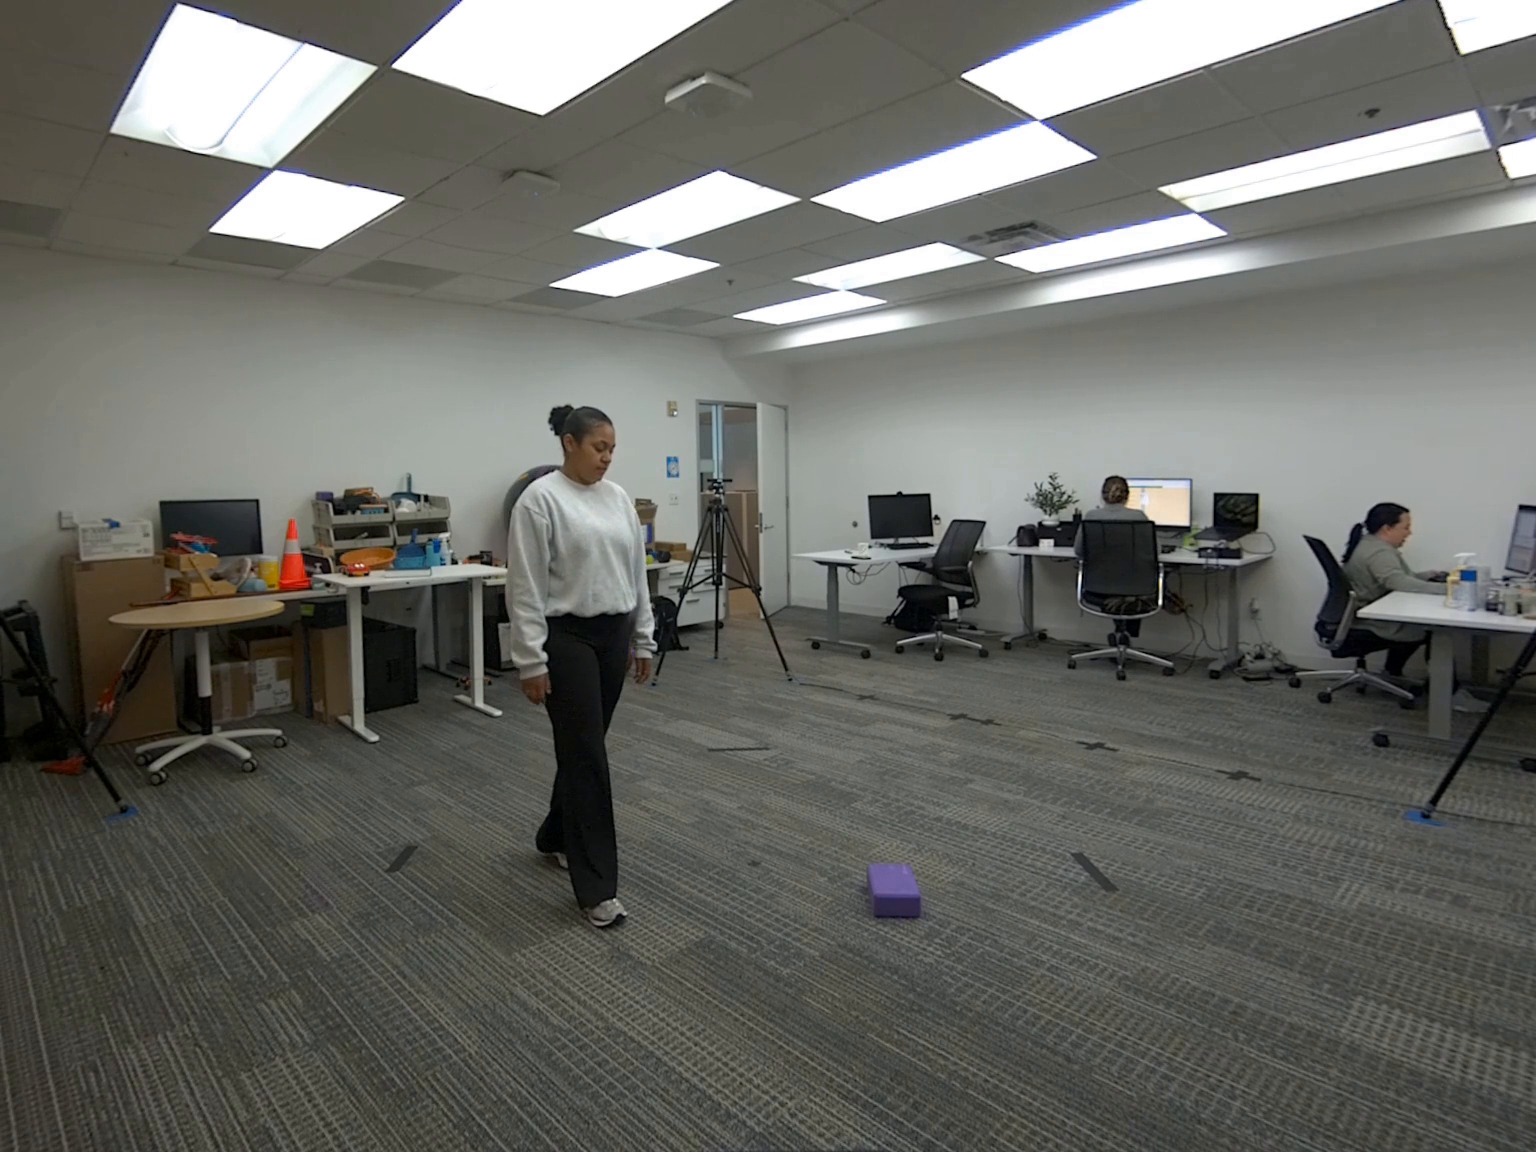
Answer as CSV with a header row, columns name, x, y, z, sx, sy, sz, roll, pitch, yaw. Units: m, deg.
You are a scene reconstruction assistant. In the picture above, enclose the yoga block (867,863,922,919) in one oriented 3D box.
name,x,y,z,sx,sy,sz,roll,pitch,yaw
yoga block,0.410,1.028,2.809,0.149,0.076,0.230,-1,6,2
